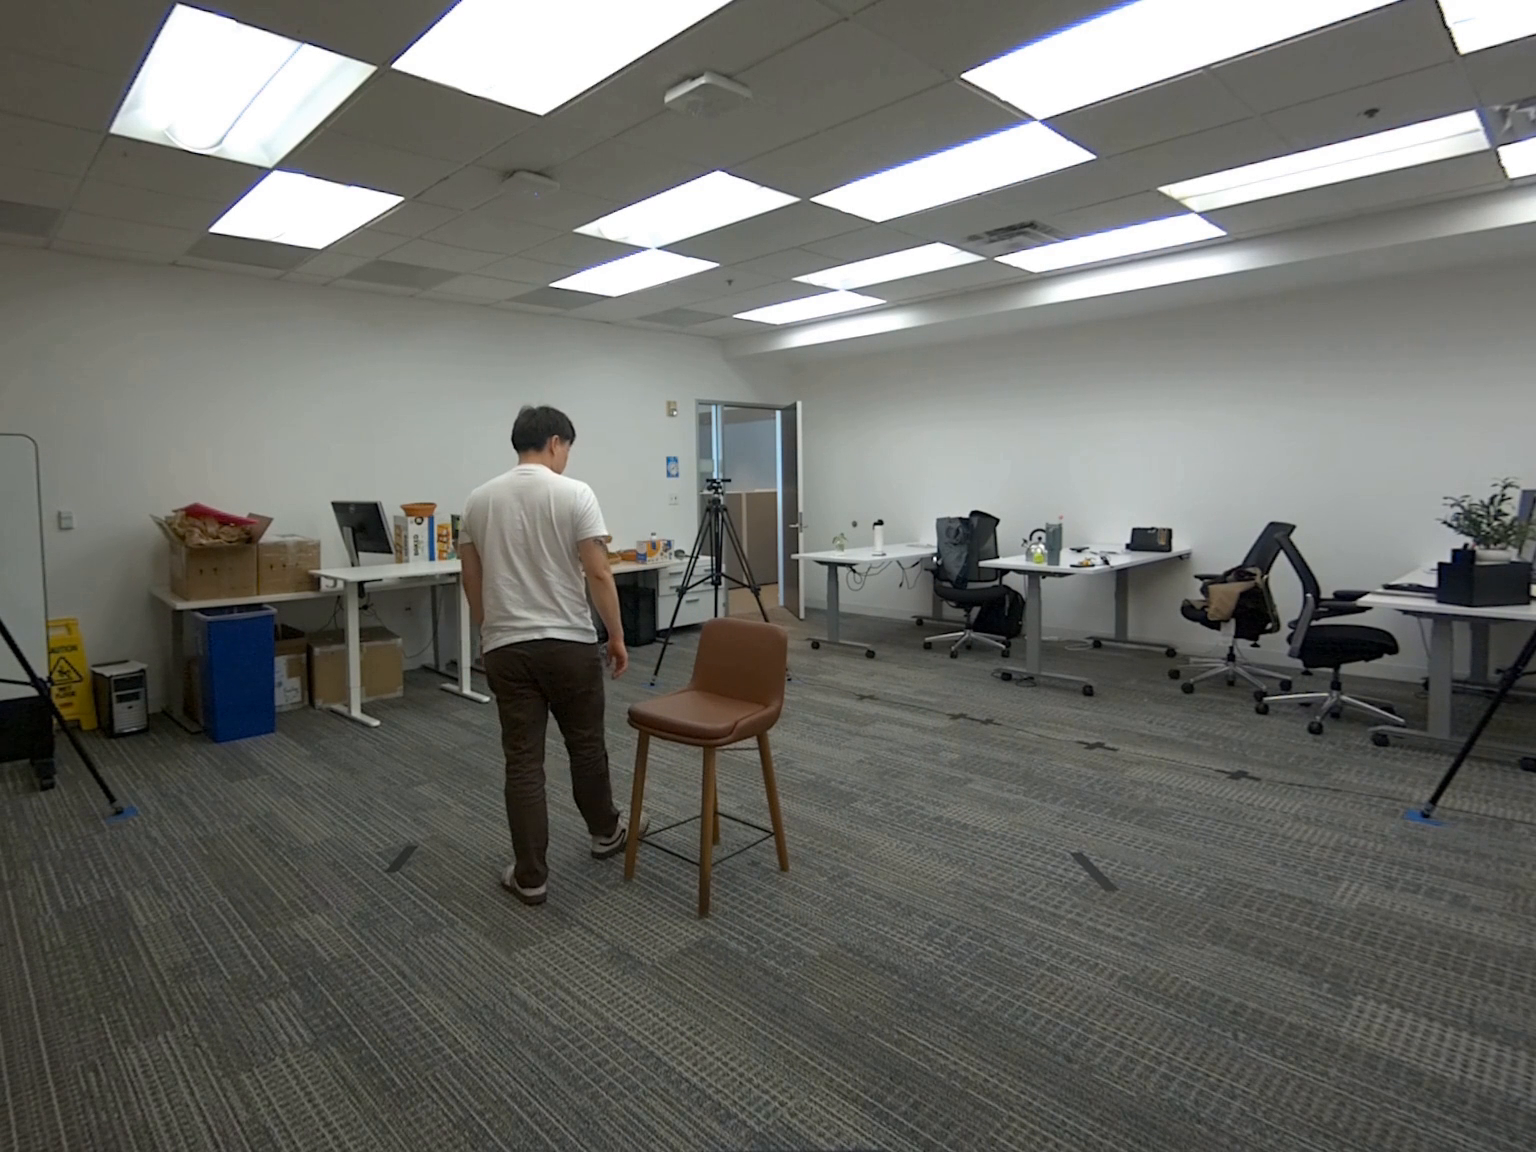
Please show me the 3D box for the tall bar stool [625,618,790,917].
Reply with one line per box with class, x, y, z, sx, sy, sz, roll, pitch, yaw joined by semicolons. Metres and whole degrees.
tall bar stool;-0.215;0.623;2.995;0.470;0.888;0.455;3;4;42
